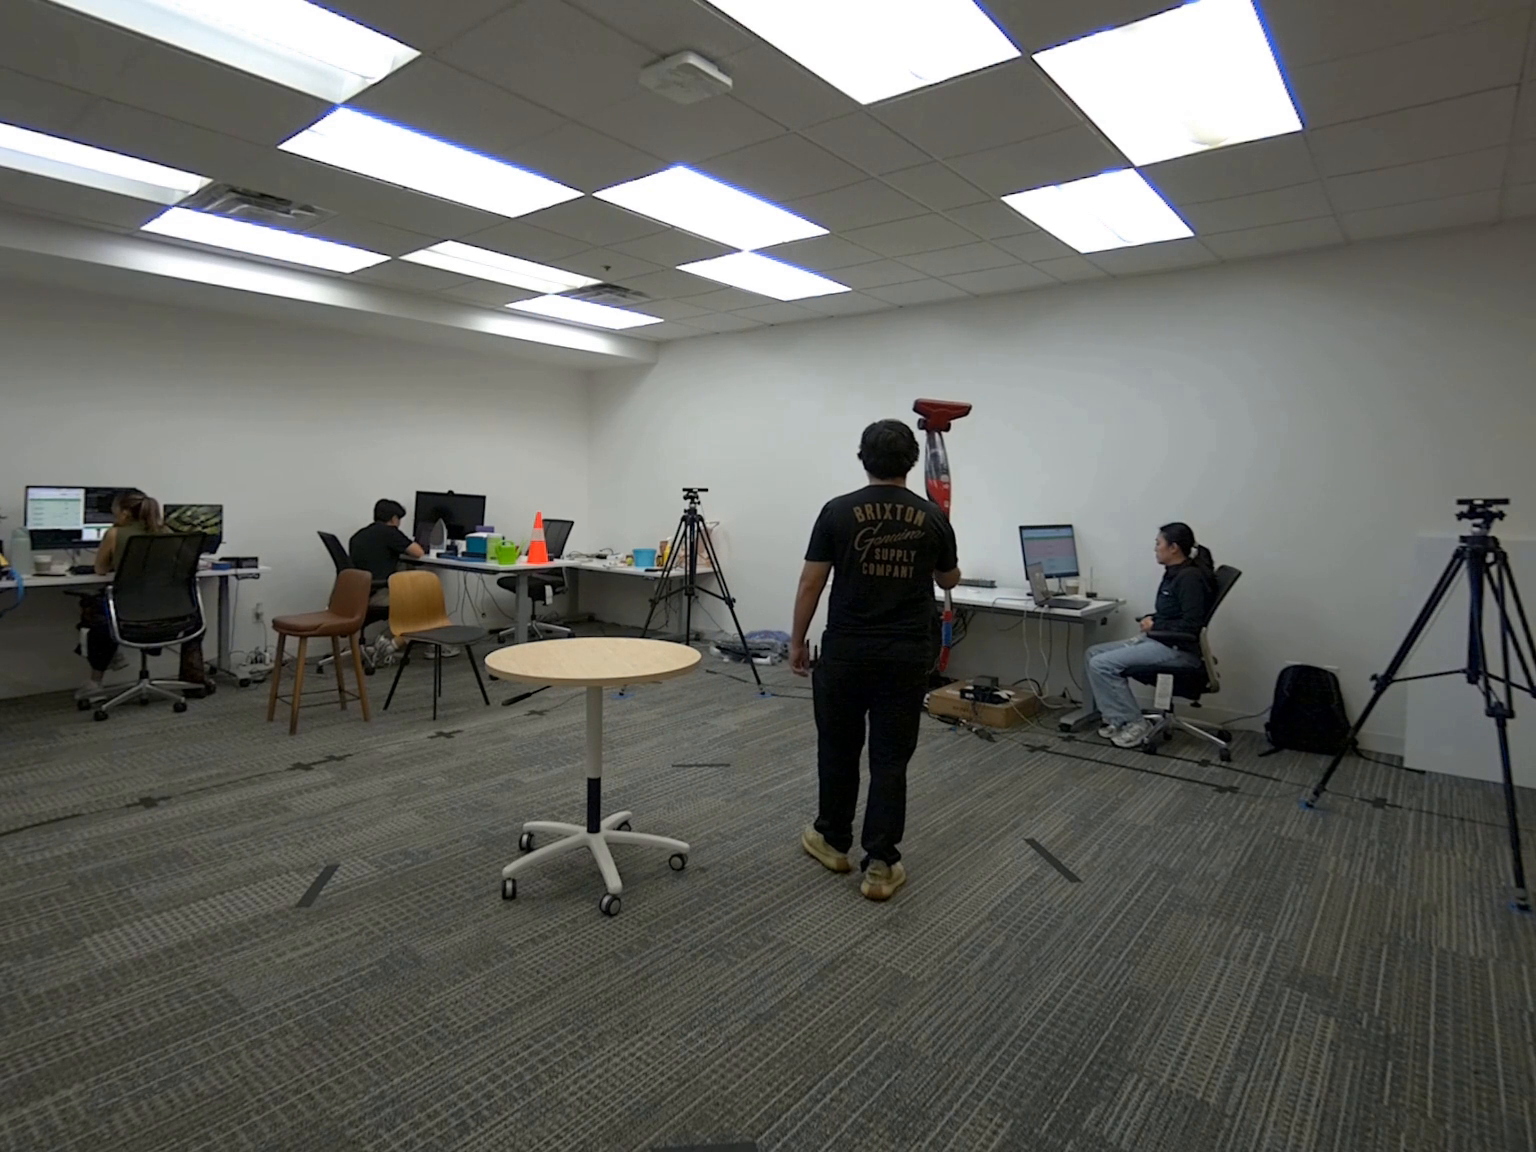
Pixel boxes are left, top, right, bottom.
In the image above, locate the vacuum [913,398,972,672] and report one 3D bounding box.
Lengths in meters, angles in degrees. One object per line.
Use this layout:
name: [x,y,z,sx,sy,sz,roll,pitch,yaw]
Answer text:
vacuum: [0.701,-0.163,3.484,0.250,1.056,0.144,3,-7,-10]
